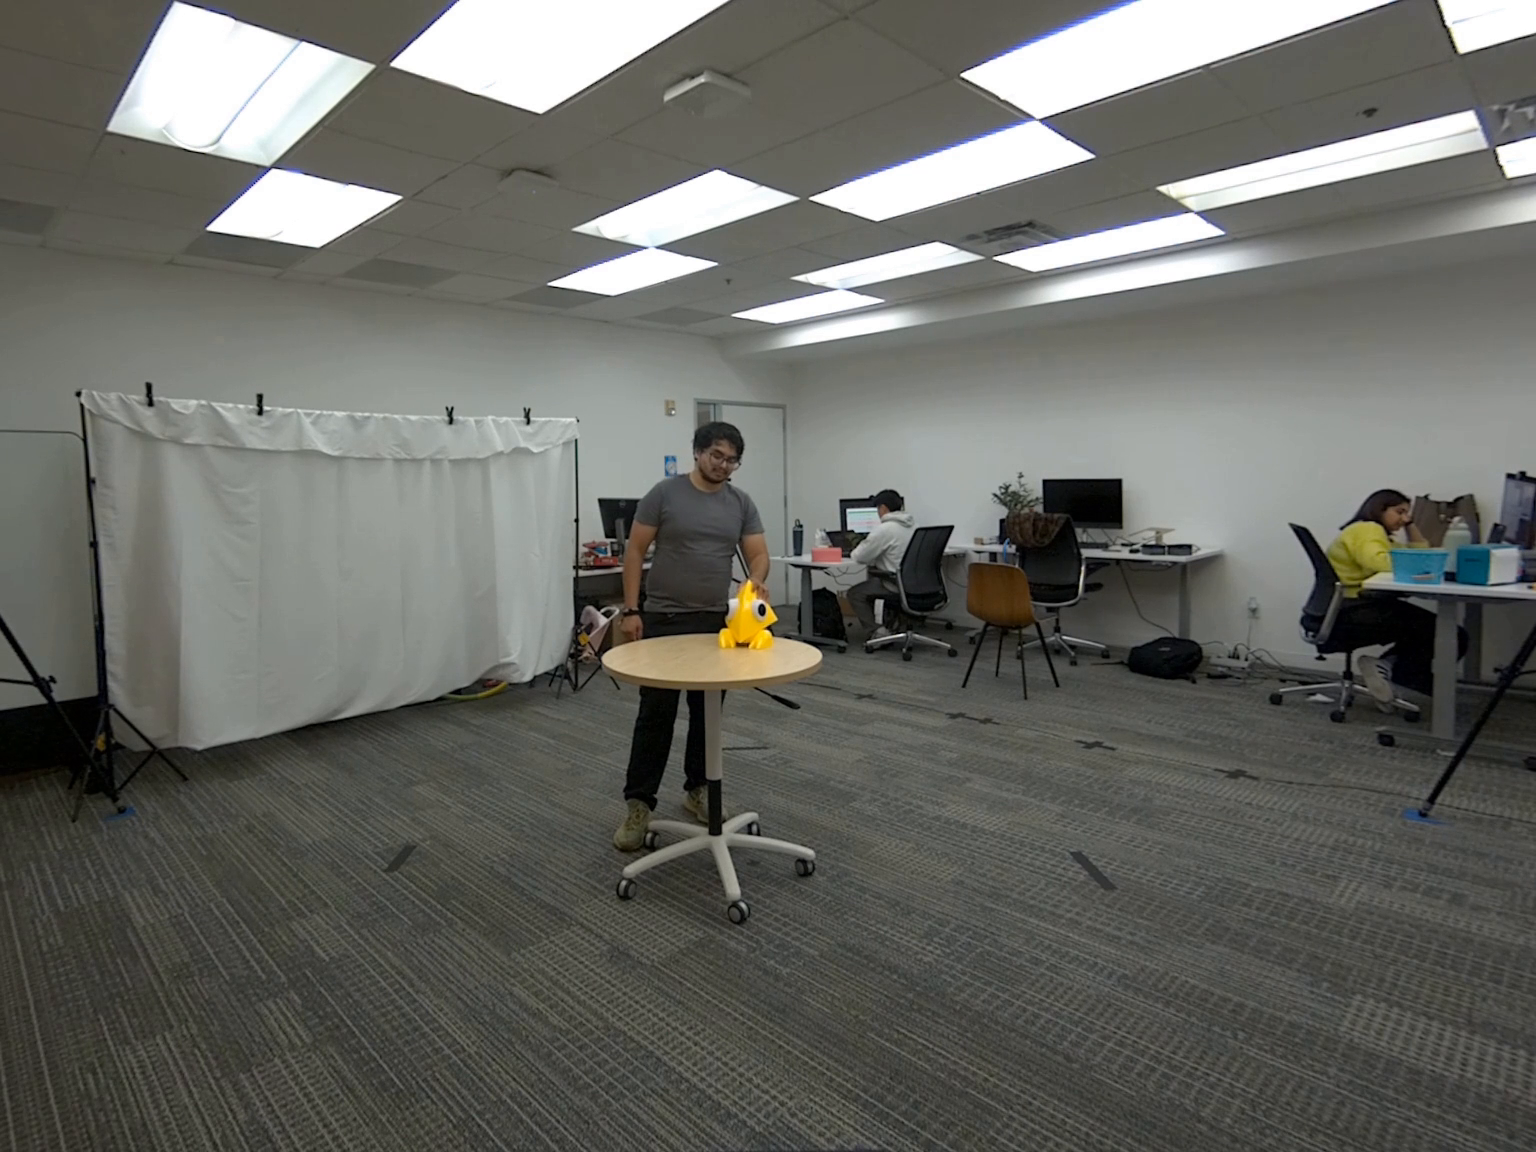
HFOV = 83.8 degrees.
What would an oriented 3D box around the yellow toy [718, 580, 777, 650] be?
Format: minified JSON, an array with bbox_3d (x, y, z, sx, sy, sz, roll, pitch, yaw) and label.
[{"bbox_3d":[-0.086,0.139,3.152,0.207,0.230,0.191,-1,2,13],"label":"yellow toy"}]
